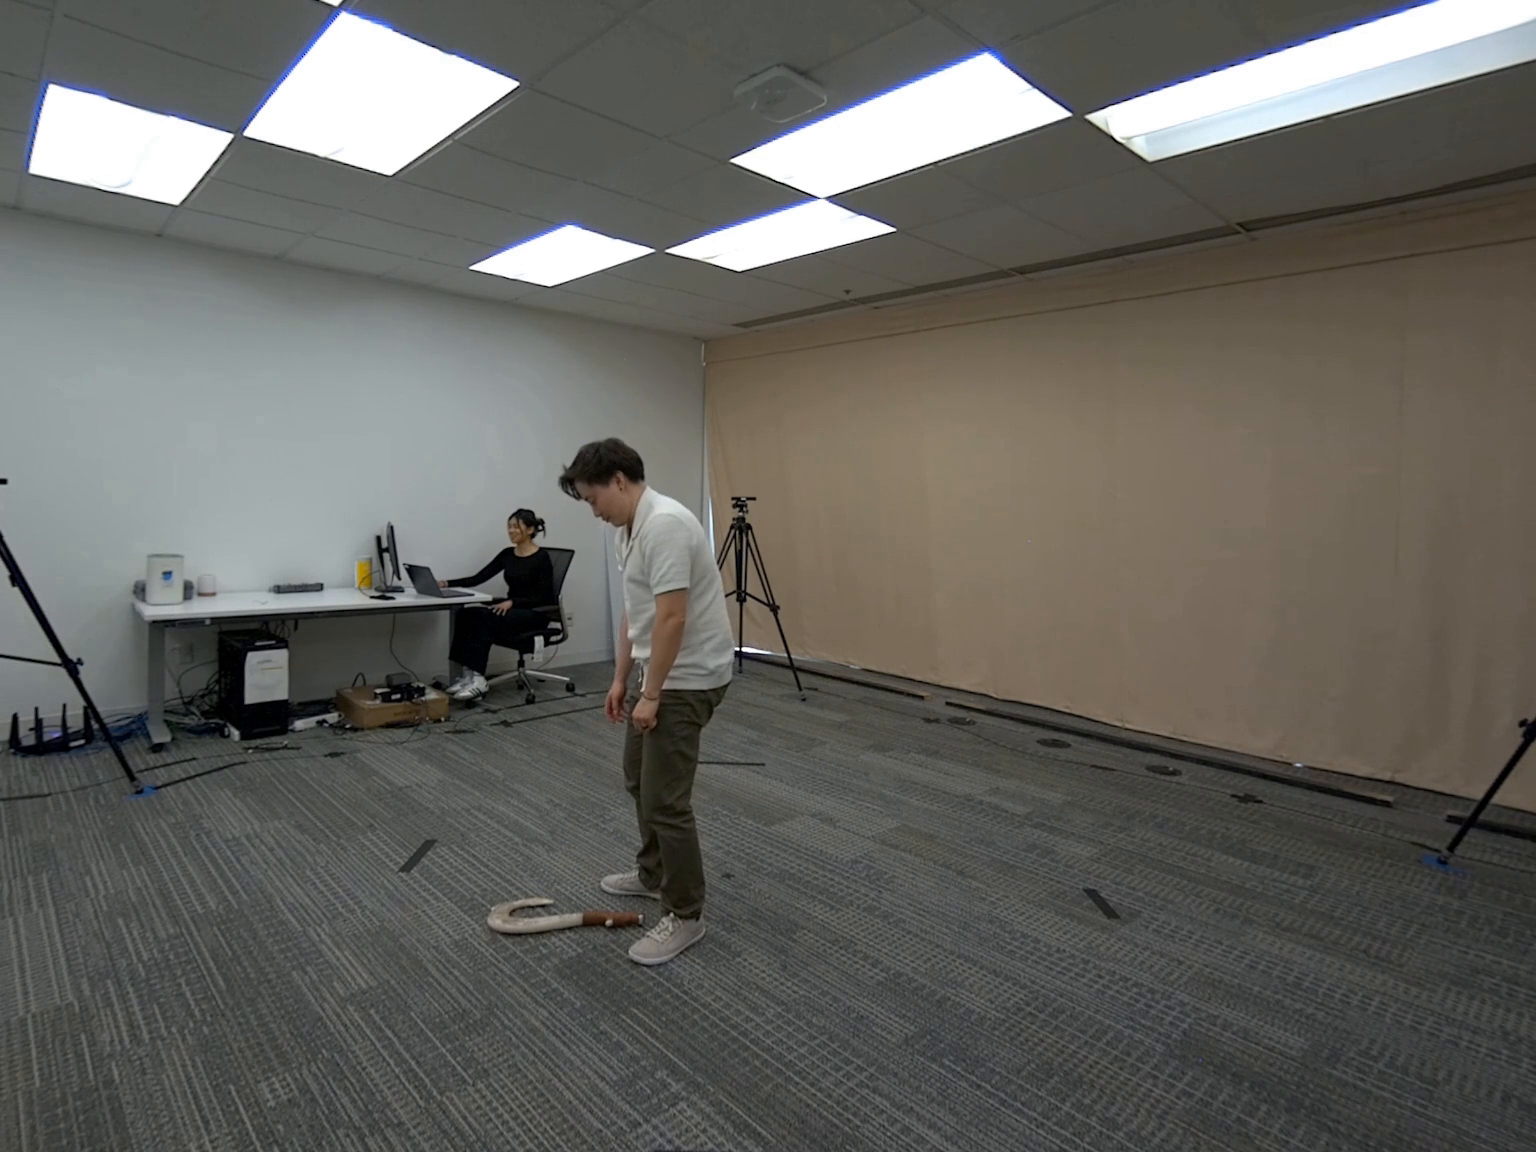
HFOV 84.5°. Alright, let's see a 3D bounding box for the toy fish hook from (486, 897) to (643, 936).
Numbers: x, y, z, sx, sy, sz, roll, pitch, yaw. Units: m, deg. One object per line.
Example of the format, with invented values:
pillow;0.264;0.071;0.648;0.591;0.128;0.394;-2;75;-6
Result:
toy fish hook;-0.660;1.101;2.761;0.505;0.048;0.226;1;6;-5
